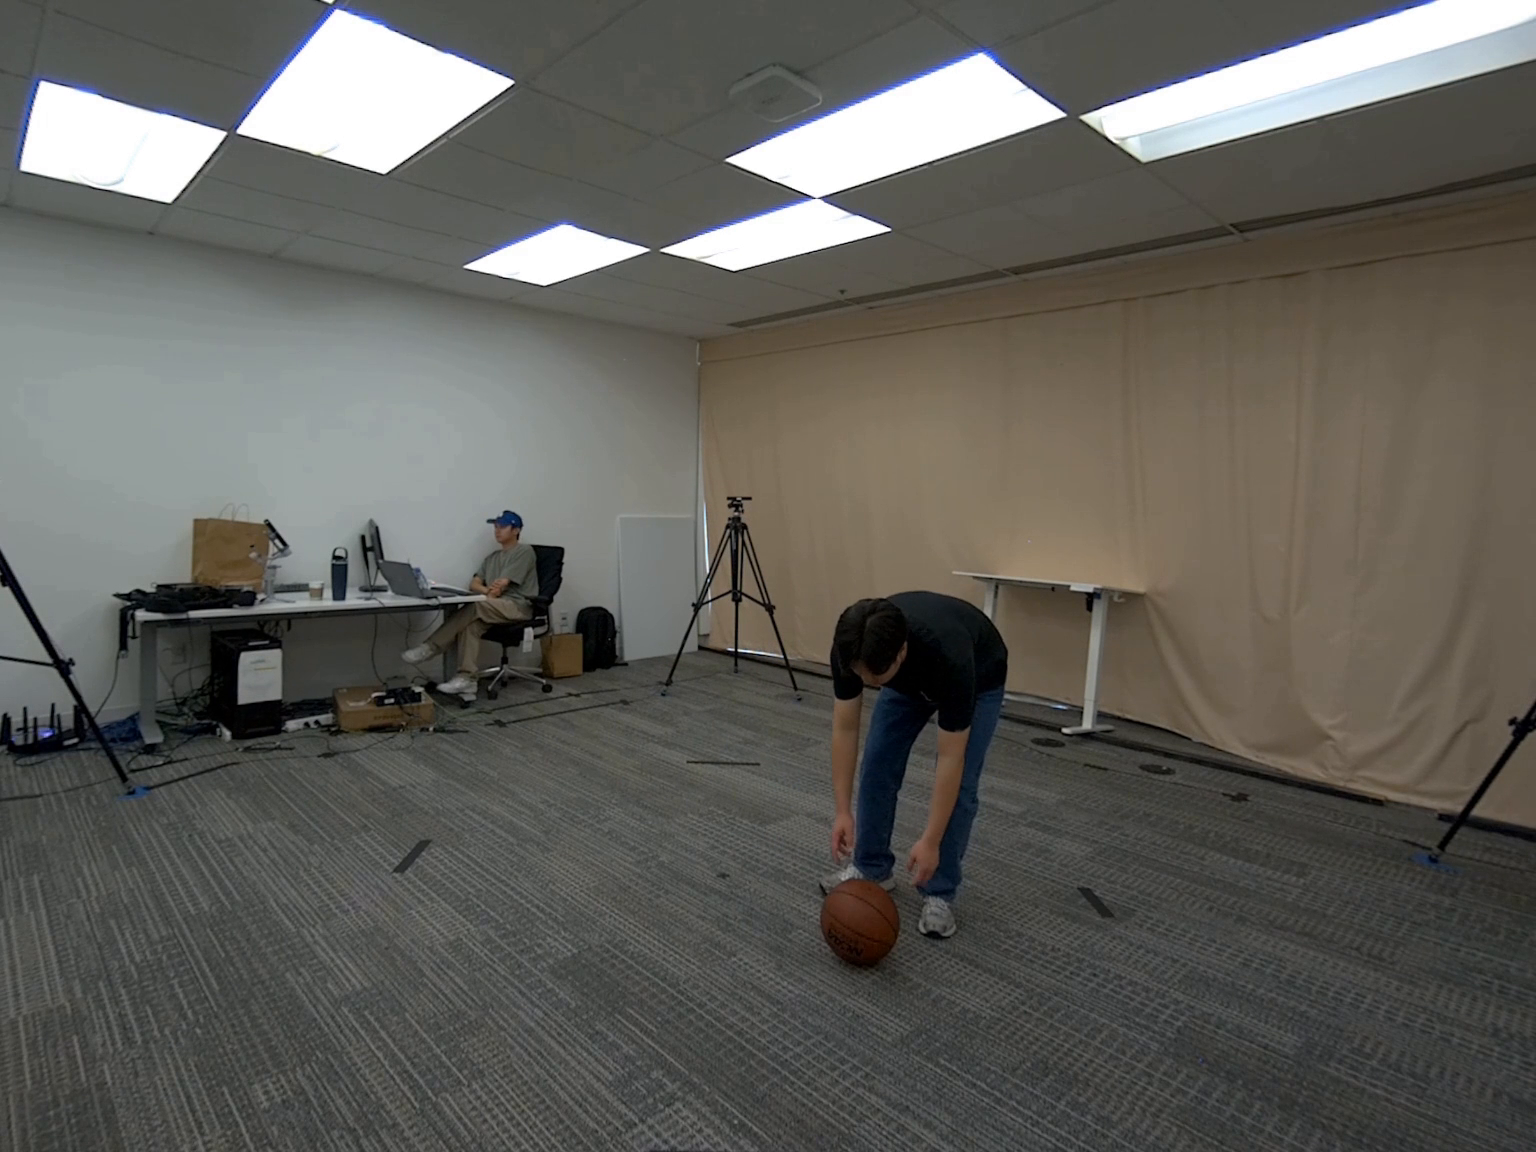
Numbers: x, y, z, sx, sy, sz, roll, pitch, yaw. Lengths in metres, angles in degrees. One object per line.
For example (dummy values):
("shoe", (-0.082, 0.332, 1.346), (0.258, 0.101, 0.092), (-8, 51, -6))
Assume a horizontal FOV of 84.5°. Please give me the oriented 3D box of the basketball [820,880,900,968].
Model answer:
("basketball", (0.275, 1.049, 2.556), (0.236, 0.235, 0.237), (1, 4, -1))
